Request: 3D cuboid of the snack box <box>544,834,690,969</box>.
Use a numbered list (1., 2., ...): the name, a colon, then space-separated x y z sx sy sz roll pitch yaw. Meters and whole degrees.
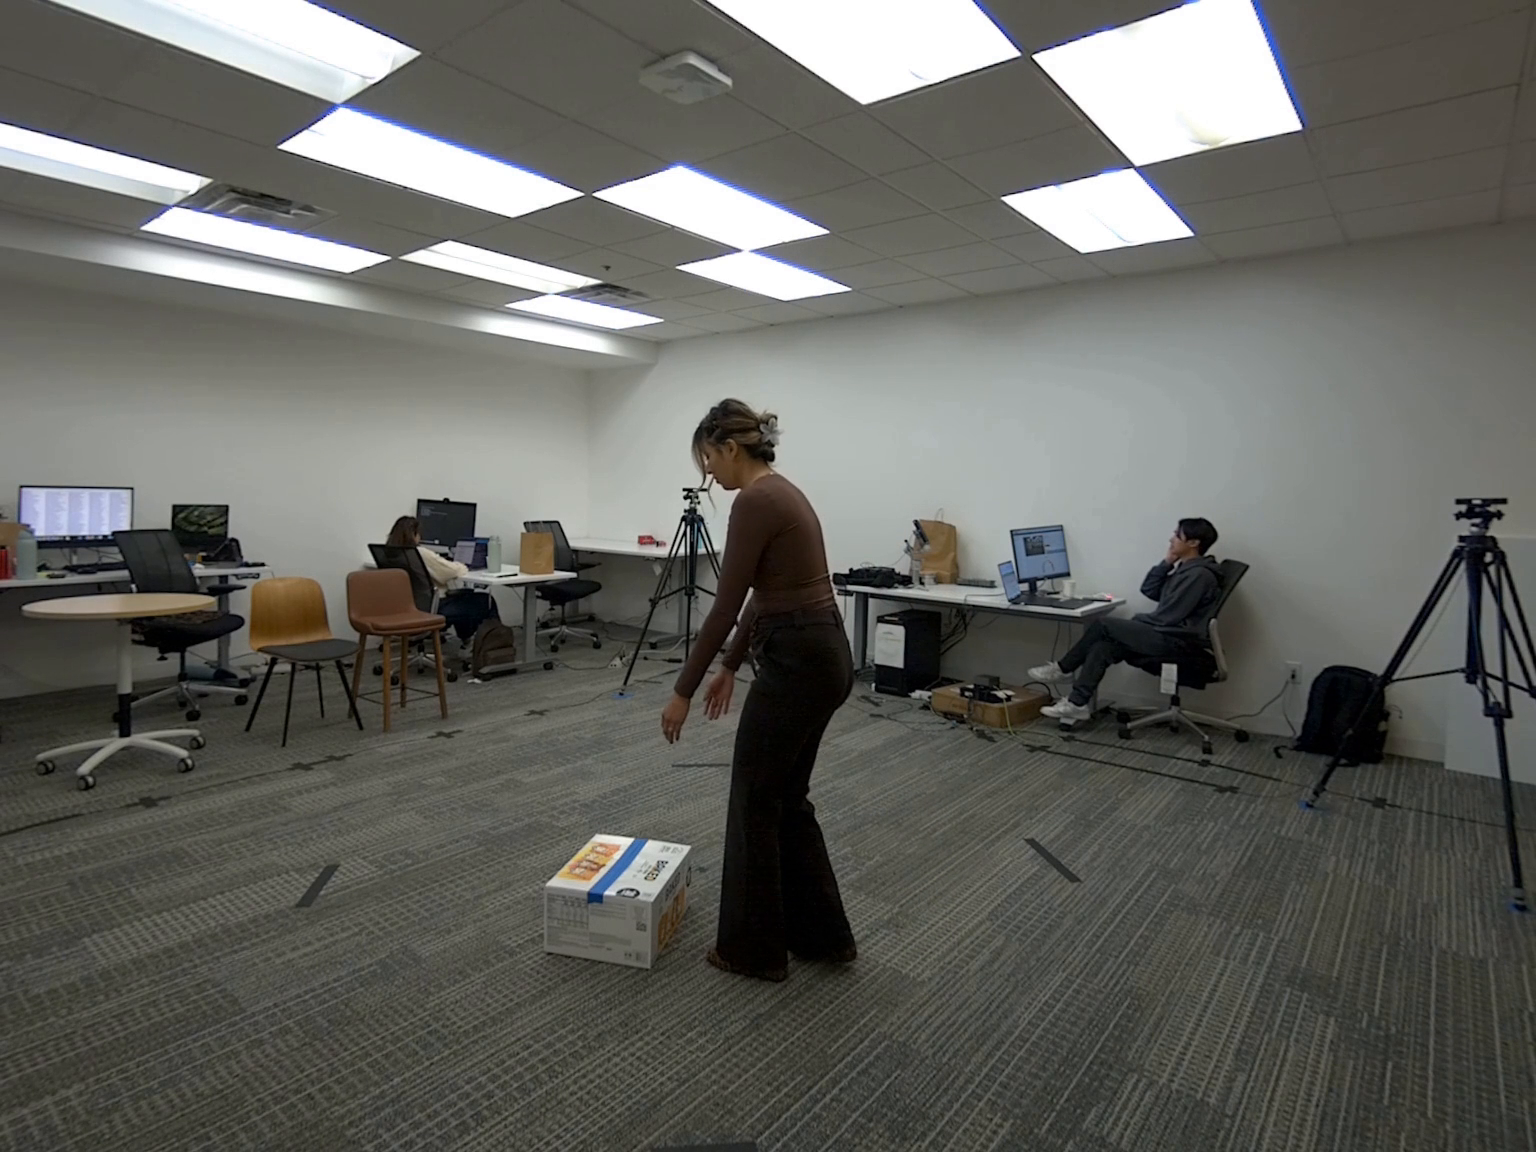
1. snack box: -0.469 1.005 2.672 0.345 0.205 0.401 2 5 13
